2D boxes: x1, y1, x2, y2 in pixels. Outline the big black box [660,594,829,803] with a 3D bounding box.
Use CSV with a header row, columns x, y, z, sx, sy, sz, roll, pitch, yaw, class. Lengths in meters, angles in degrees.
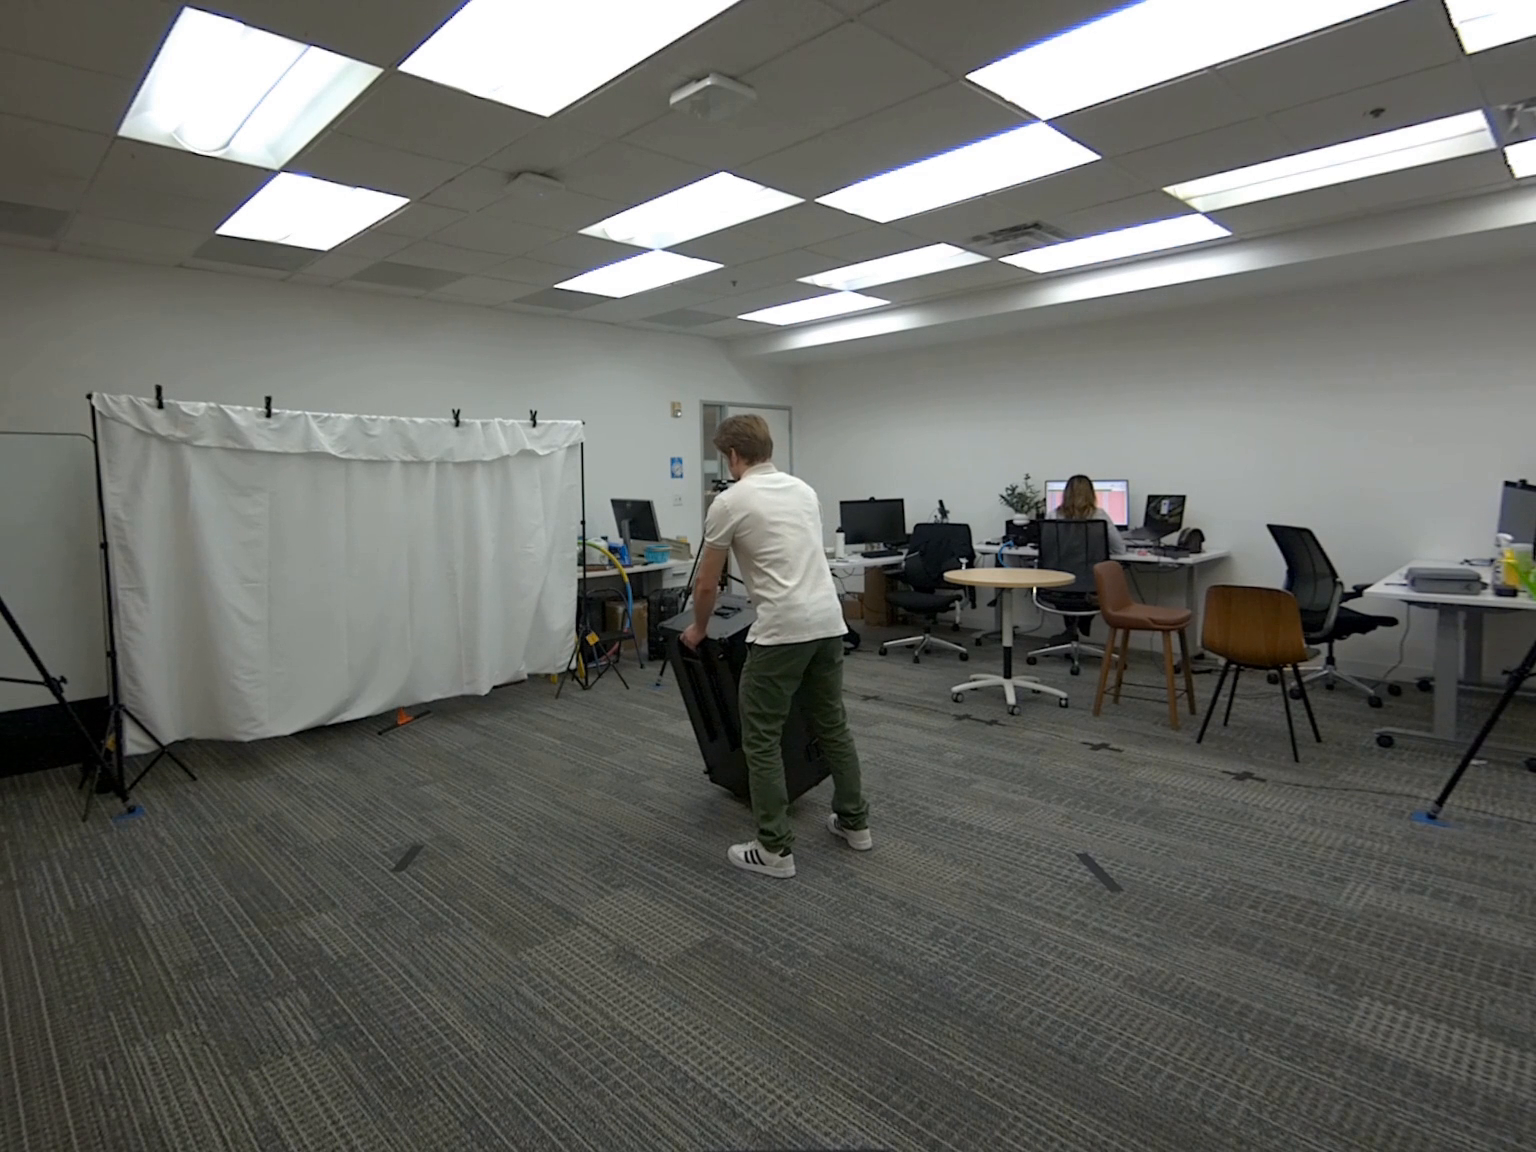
x,y,z,sx,sy,sz,roll,pitch,yaw,class
-0.082,0.553,3.642,0.380,0.855,0.539,-26,17,-33,big black box
